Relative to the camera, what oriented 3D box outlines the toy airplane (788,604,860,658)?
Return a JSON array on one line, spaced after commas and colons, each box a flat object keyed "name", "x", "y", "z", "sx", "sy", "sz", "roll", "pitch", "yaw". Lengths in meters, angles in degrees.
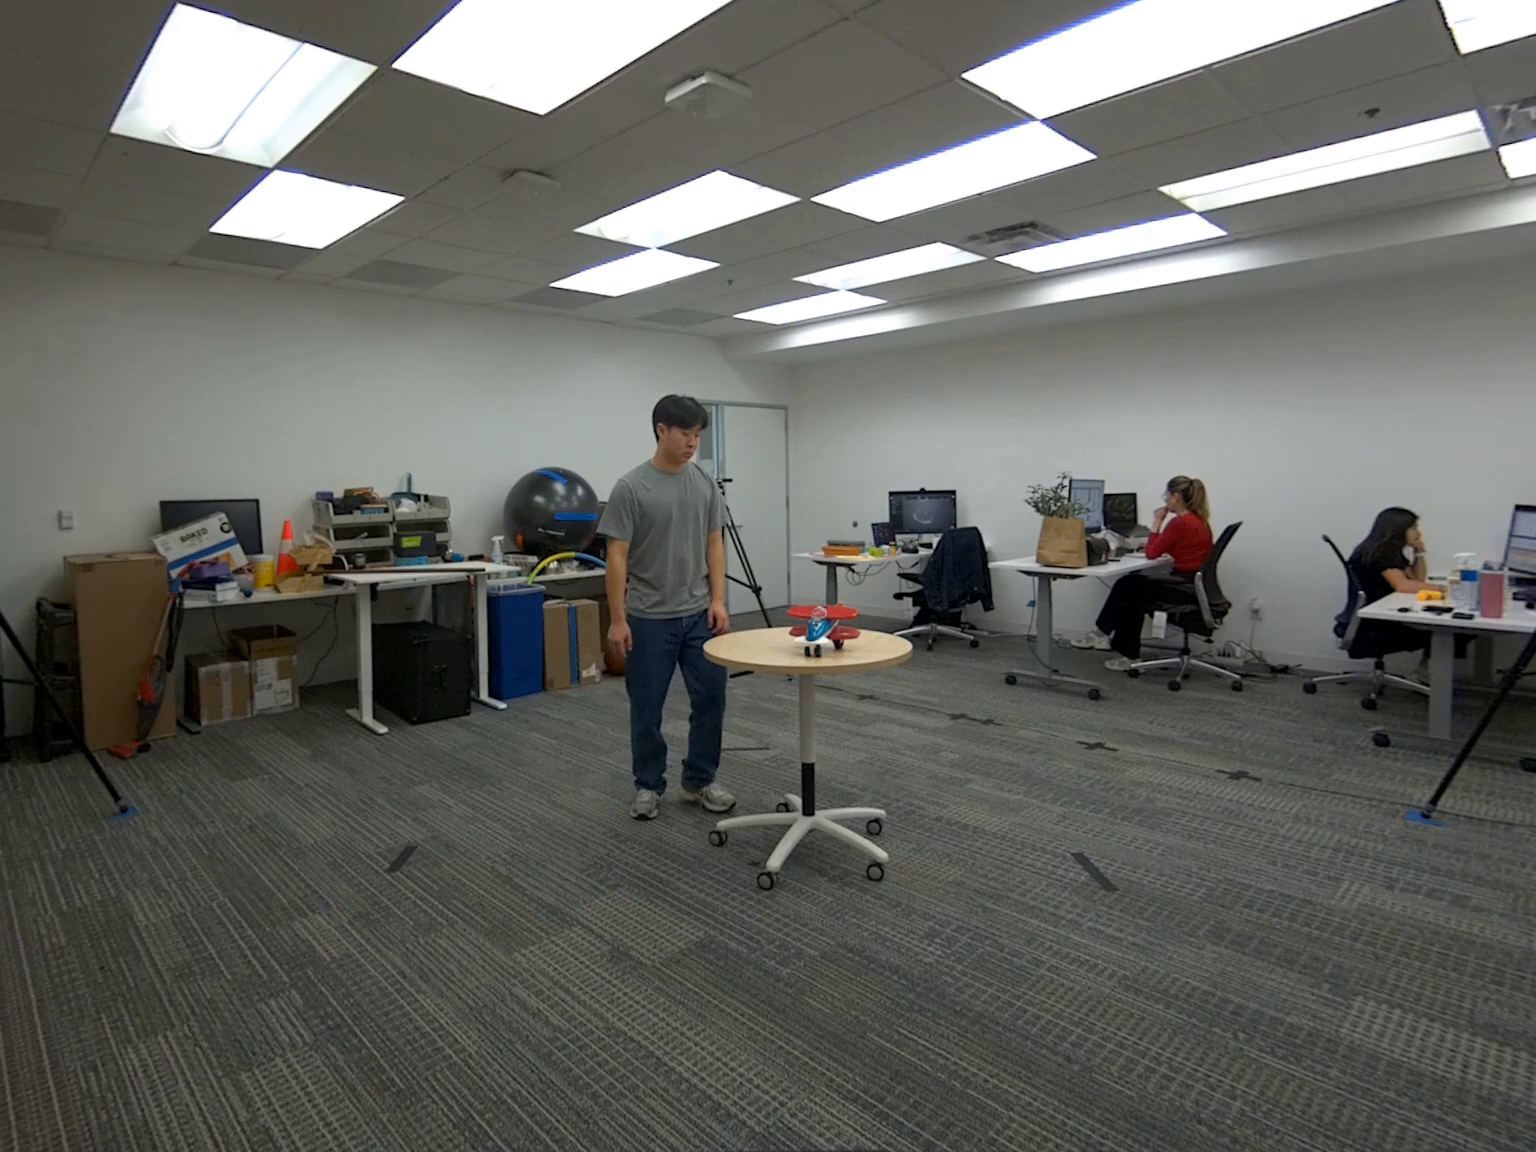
[{"name": "toy airplane", "x": 0.209, "y": 0.191, "z": 3.009, "sx": 0.249, "sy": 0.156, "sz": 0.262, "roll": -3, "pitch": 5, "yaw": -9}]
